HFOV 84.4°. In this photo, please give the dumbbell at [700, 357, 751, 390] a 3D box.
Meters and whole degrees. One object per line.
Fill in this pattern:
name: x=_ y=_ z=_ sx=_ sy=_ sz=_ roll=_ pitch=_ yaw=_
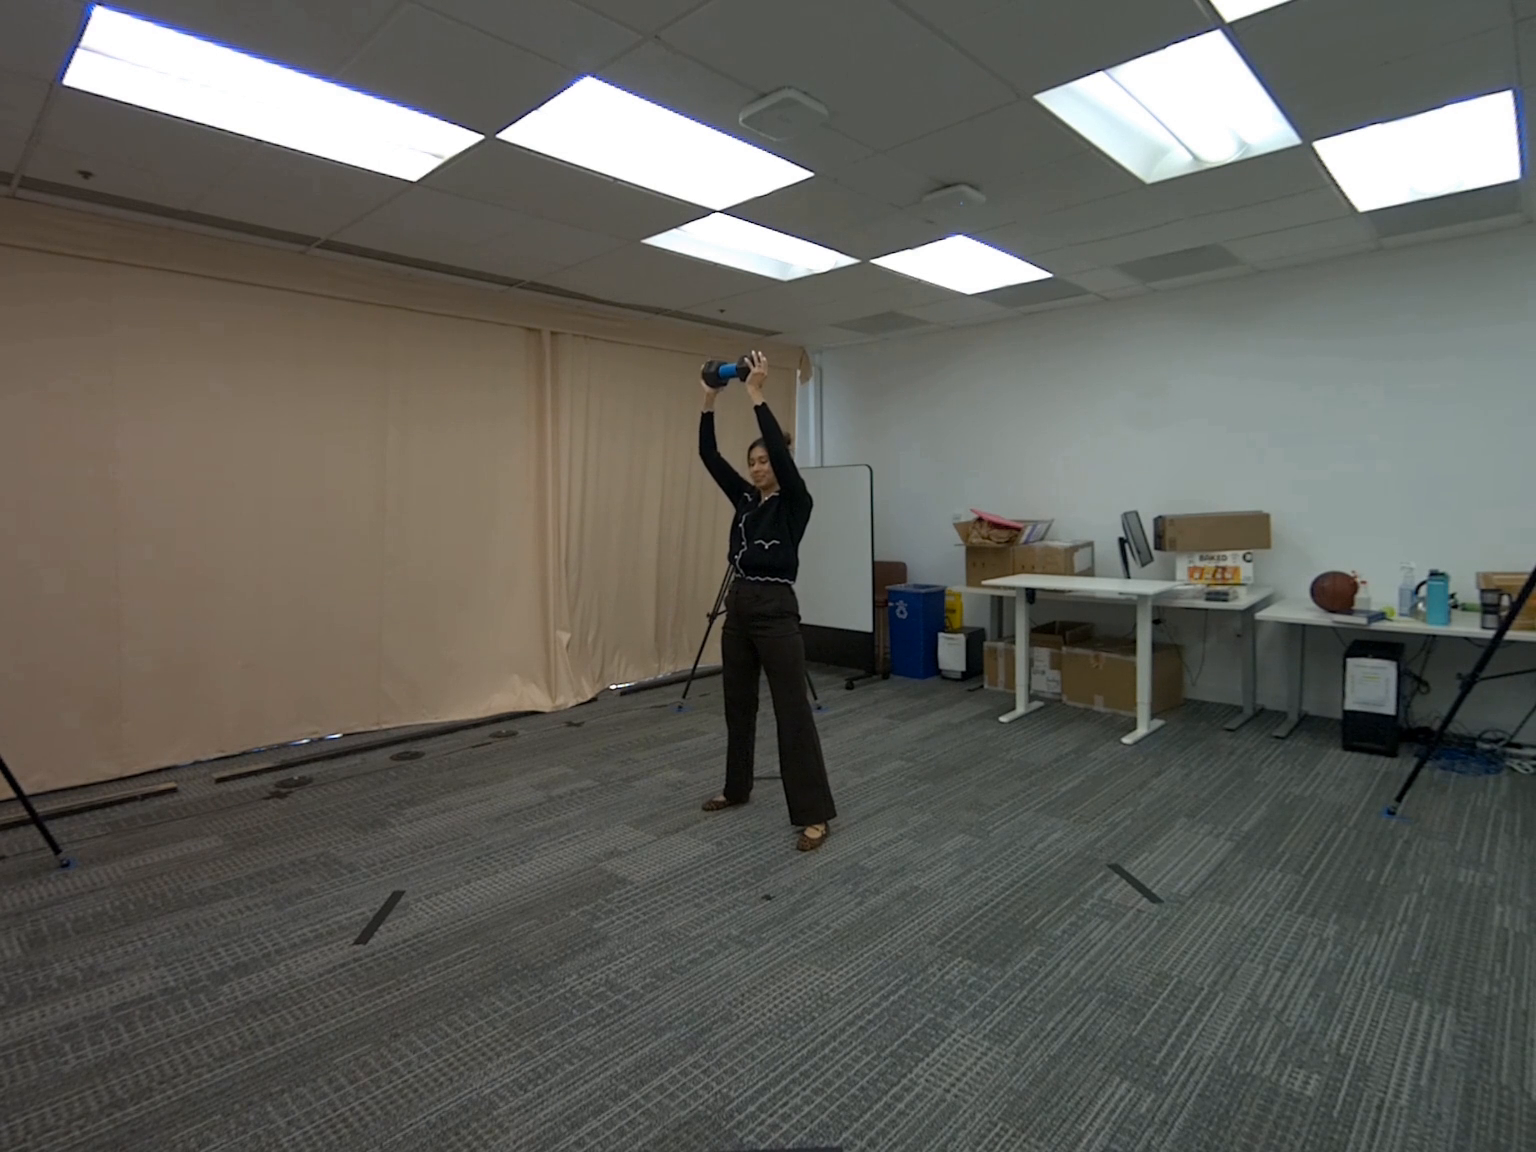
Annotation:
dumbbell: x=-0.141 y=-0.847 z=3.511 sx=0.303 sy=0.123 sz=0.105 roll=6 pitch=-27 yaw=46
